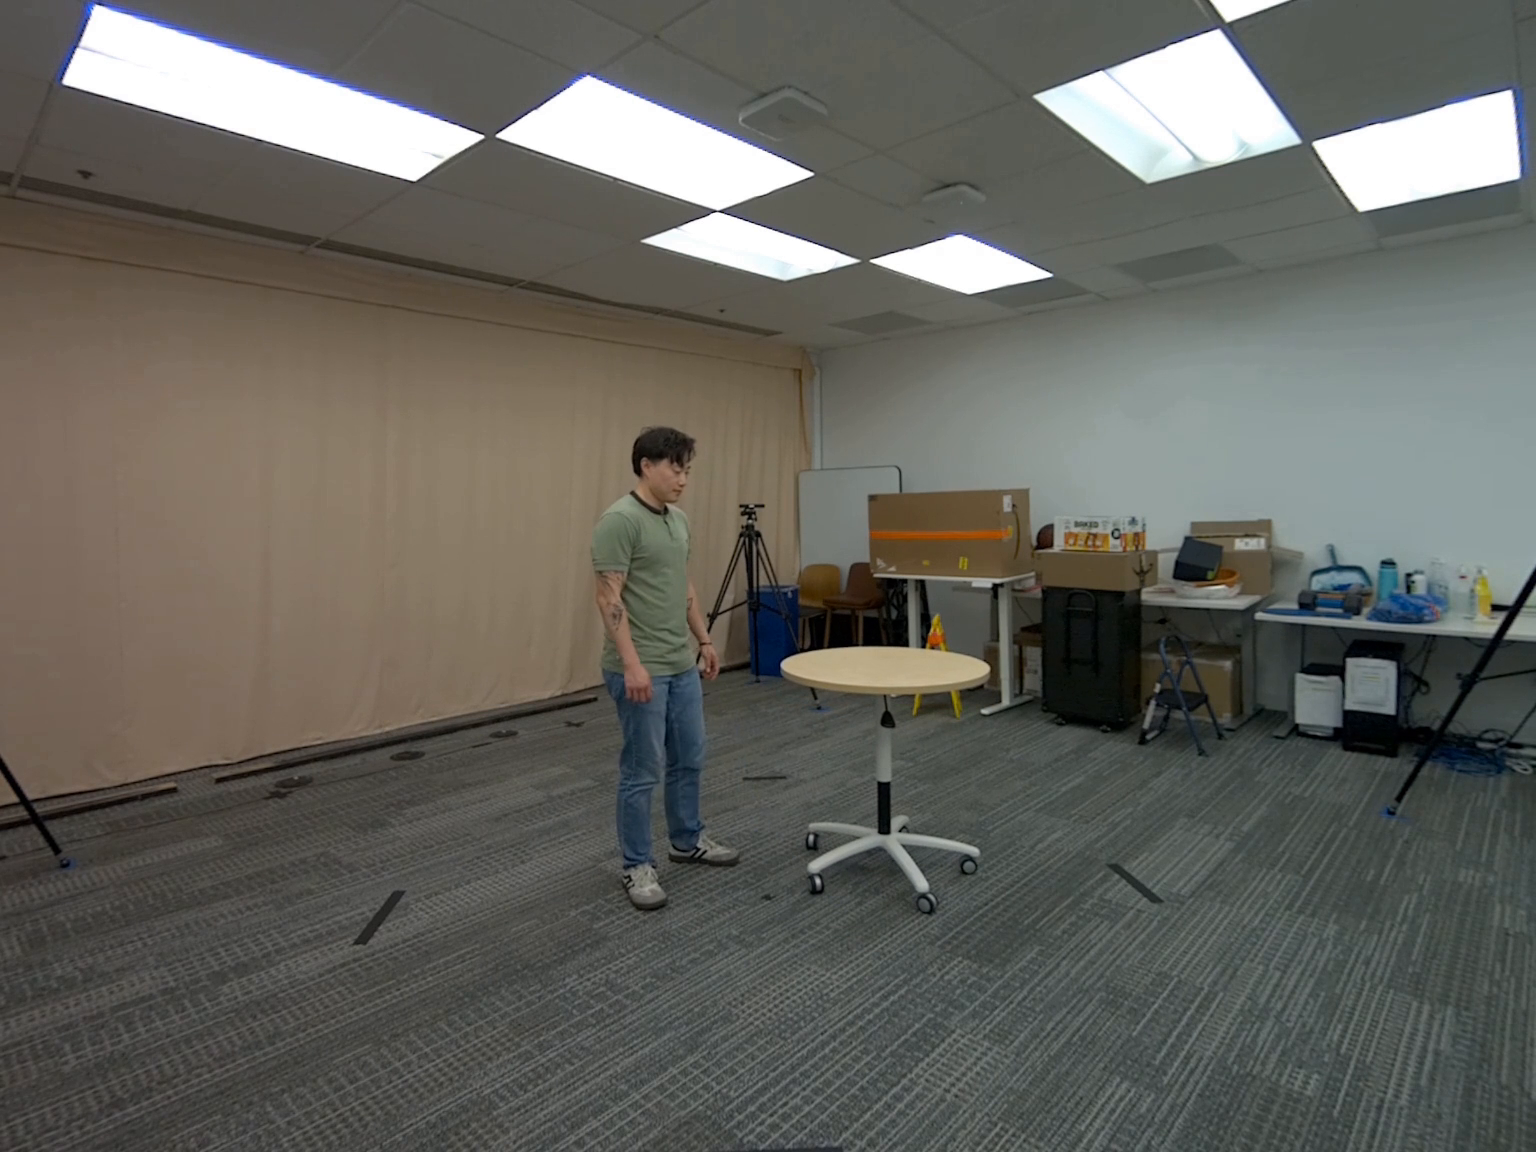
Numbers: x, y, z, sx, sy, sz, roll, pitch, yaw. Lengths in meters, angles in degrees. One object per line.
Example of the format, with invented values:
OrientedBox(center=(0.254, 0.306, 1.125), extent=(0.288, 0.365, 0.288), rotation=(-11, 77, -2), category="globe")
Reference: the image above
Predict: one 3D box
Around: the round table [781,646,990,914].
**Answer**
OrientedBox(center=(0.442, 0.726, 3.170), extent=(0.763, 0.792, 0.767), rotation=(-1, 4, -2), category="round table")
